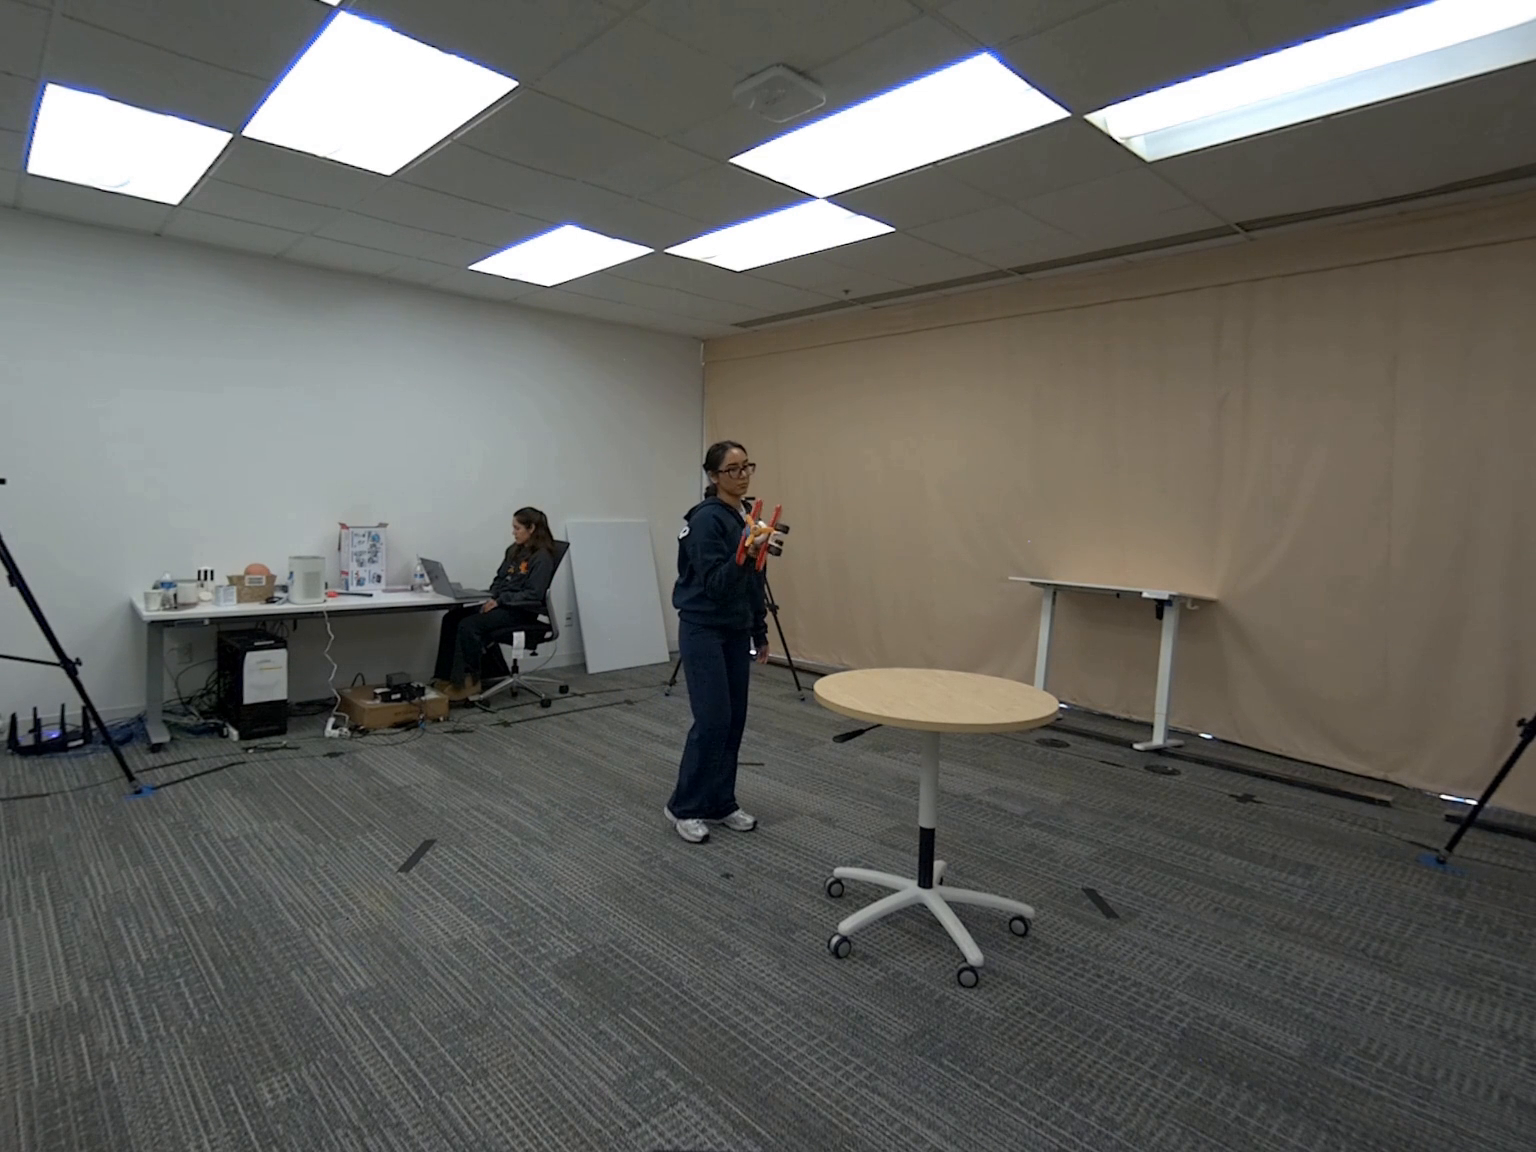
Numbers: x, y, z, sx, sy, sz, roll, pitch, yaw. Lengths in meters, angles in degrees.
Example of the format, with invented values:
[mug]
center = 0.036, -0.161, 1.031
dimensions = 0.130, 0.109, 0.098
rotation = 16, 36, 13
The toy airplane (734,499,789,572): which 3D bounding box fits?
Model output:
[toy airplane]
center = -0.030, -0.122, 3.137
dimensions = 0.156, 0.254, 0.256
rotation = 18, -37, -3
